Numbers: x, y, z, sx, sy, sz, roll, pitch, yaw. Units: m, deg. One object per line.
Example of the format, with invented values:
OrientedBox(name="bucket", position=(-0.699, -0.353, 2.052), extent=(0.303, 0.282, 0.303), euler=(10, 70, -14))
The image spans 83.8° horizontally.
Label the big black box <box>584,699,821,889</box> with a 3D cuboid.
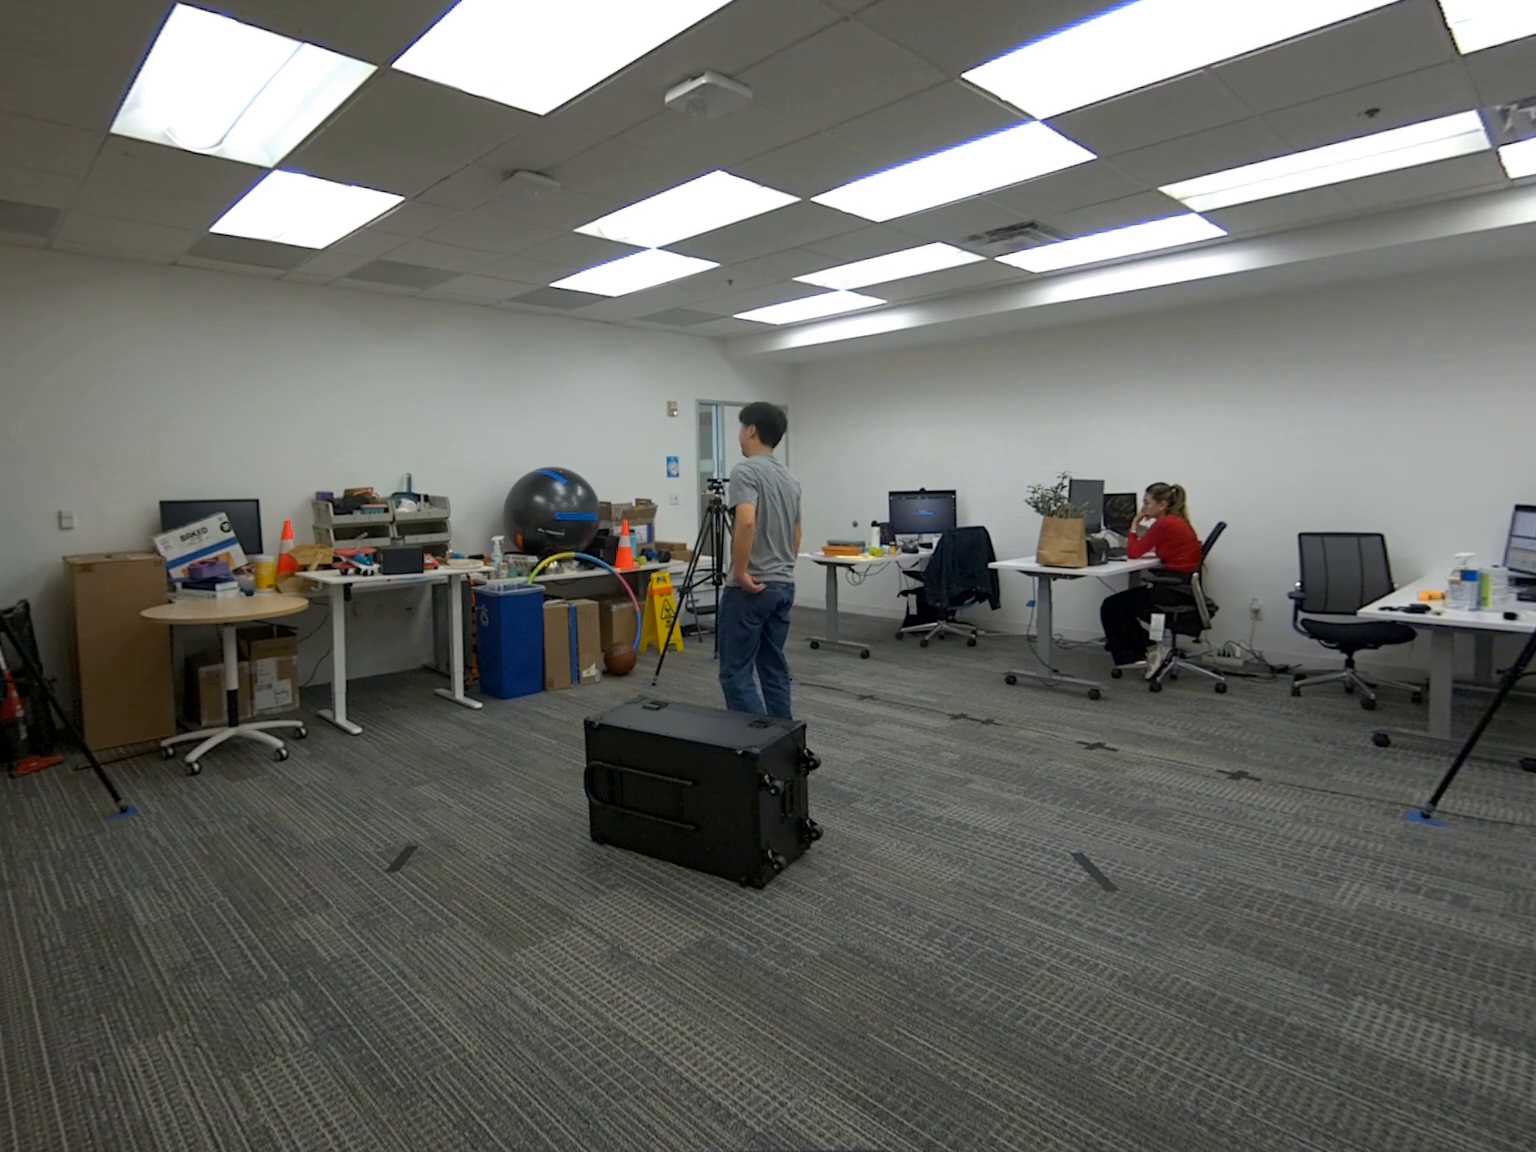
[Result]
OrientedBox(name="big black box", position=(-0.257, 0.780, 3.208), extent=(0.885, 0.518, 0.388), euler=(3, 8, 32))
